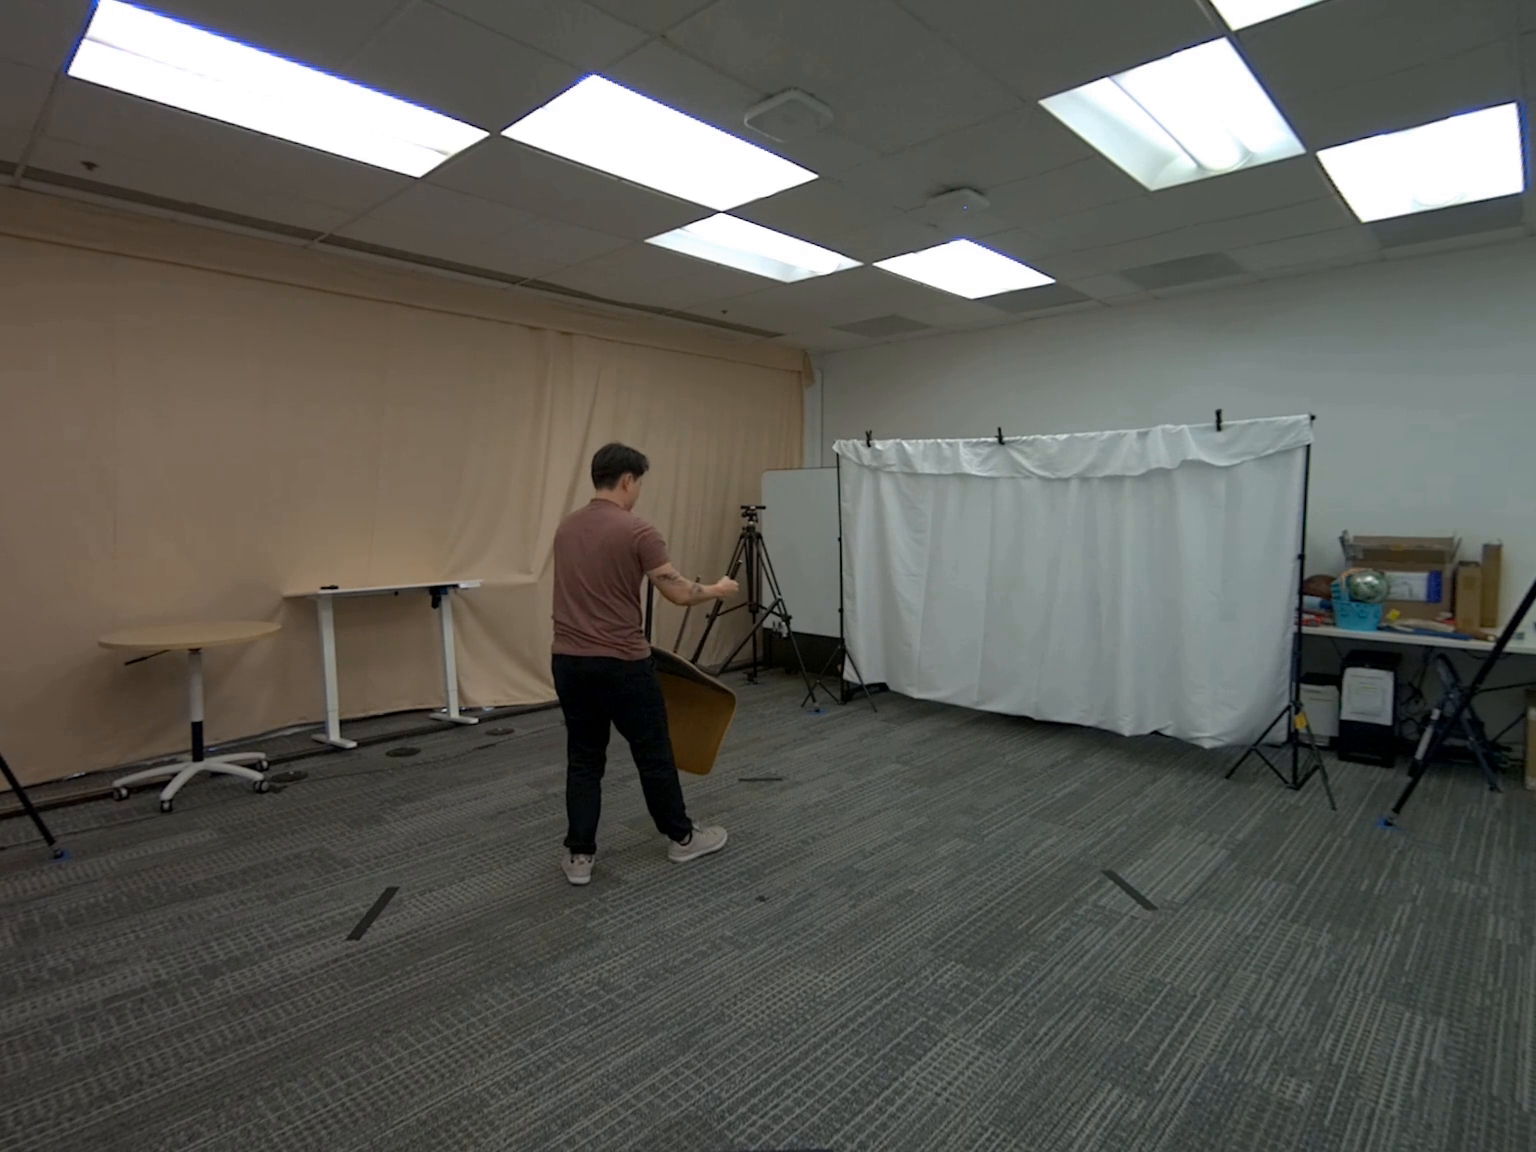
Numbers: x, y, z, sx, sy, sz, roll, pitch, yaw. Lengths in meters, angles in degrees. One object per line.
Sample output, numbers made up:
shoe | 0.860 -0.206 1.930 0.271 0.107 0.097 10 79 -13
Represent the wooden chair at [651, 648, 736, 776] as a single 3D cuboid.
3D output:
wooden chair | -0.366 0.362 3.535 0.493 0.879 0.506 13 -11 29
